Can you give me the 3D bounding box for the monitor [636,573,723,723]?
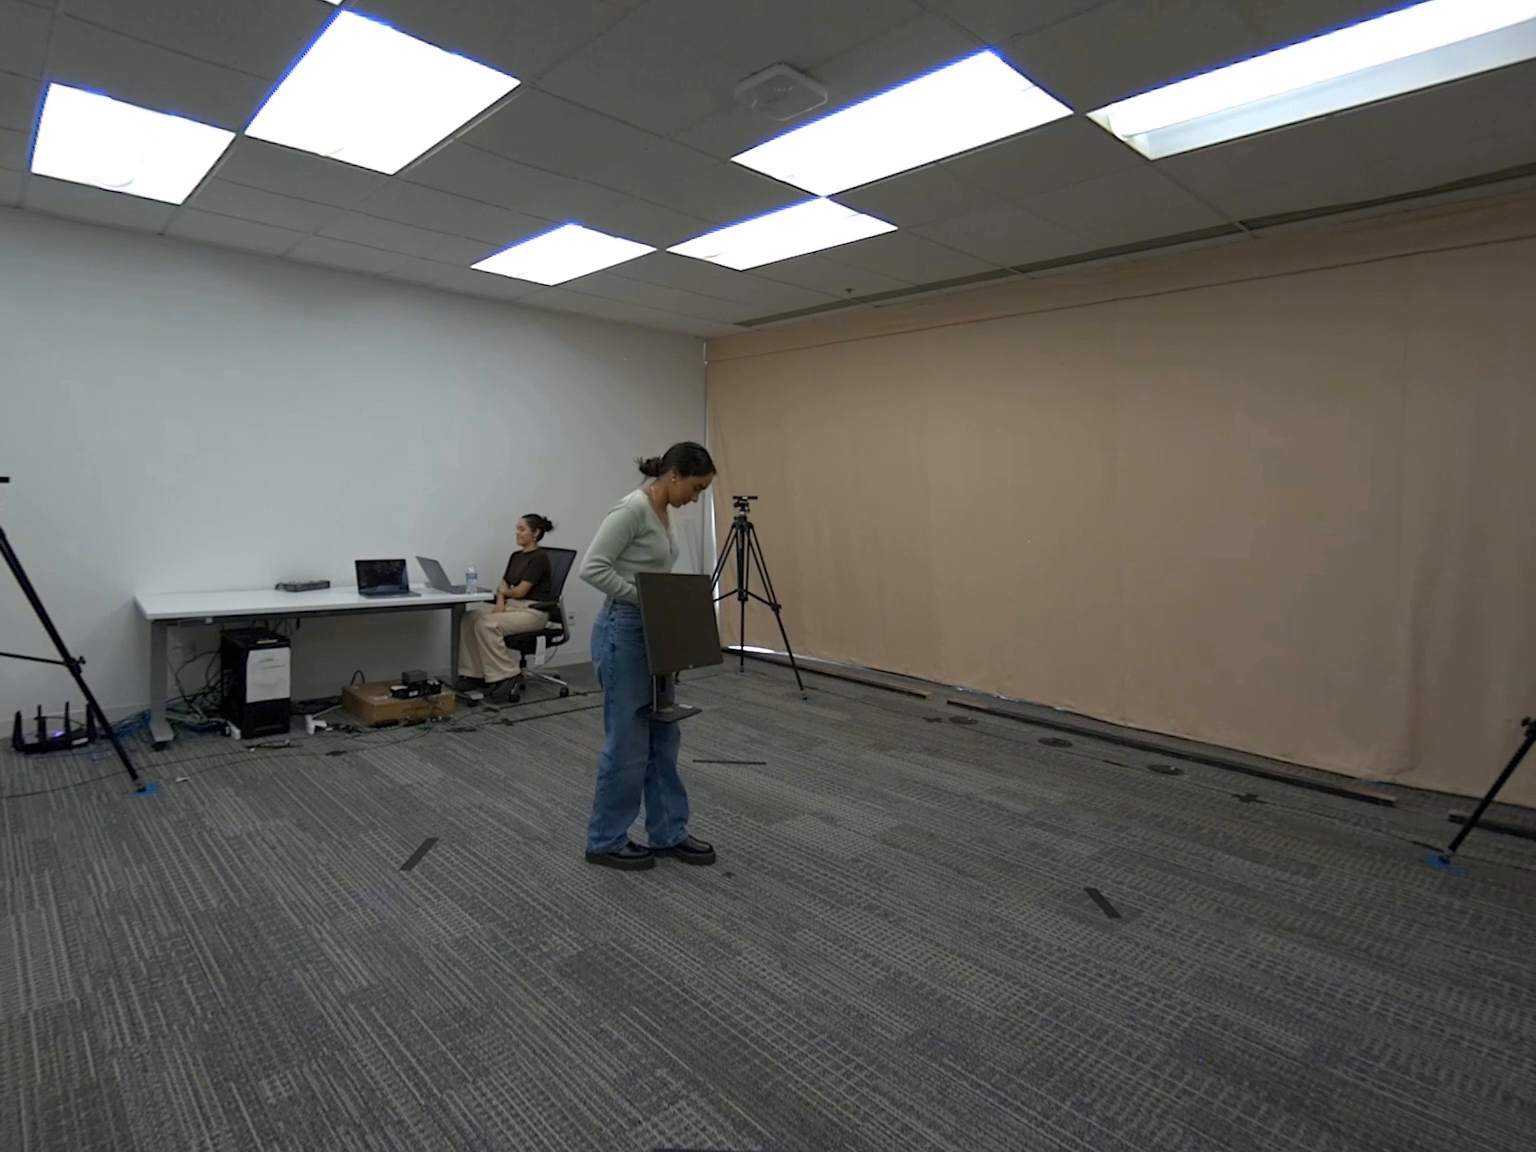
[{"bbox_3d":[-0.357,0.247,3.075,0.178,0.515,0.519,11,3,24],"label":"monitor"}]
